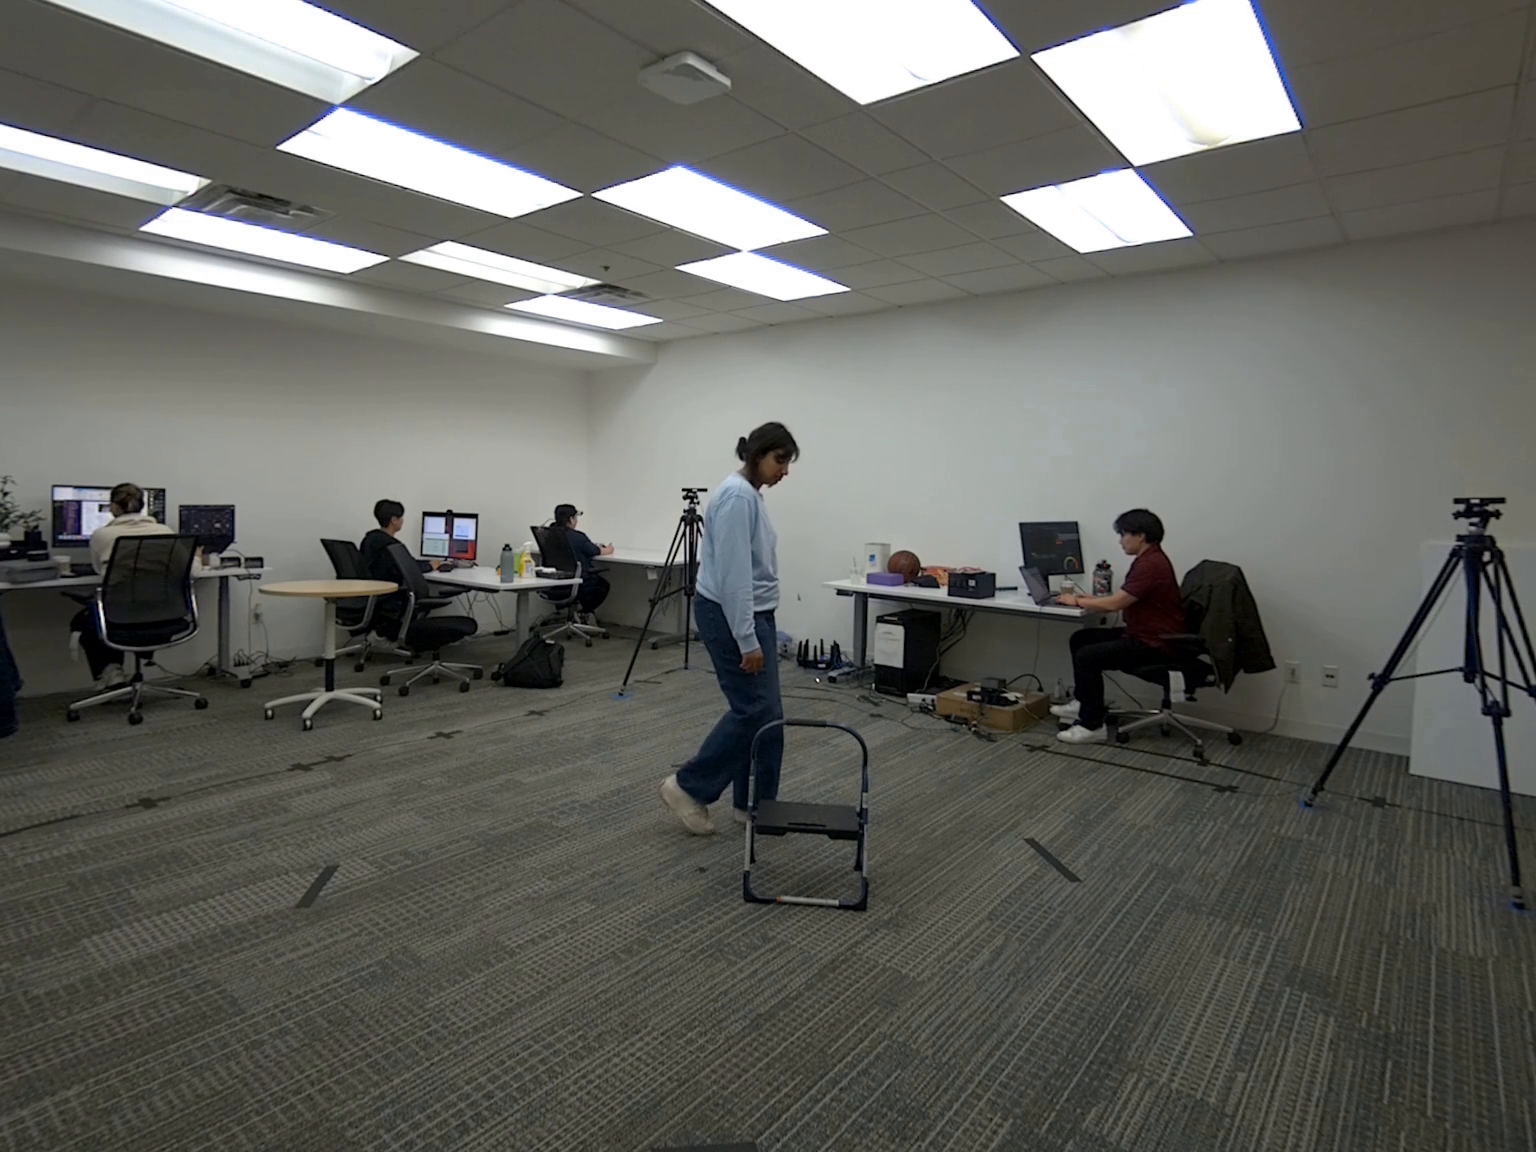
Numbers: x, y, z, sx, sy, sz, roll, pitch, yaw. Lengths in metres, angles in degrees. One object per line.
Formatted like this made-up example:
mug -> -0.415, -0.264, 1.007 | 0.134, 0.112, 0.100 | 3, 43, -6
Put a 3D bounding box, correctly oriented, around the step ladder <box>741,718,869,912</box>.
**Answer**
step ladder -> 0.133, 0.784, 2.997 | 0.433, 0.605, 0.348 | 2, 2, 5
